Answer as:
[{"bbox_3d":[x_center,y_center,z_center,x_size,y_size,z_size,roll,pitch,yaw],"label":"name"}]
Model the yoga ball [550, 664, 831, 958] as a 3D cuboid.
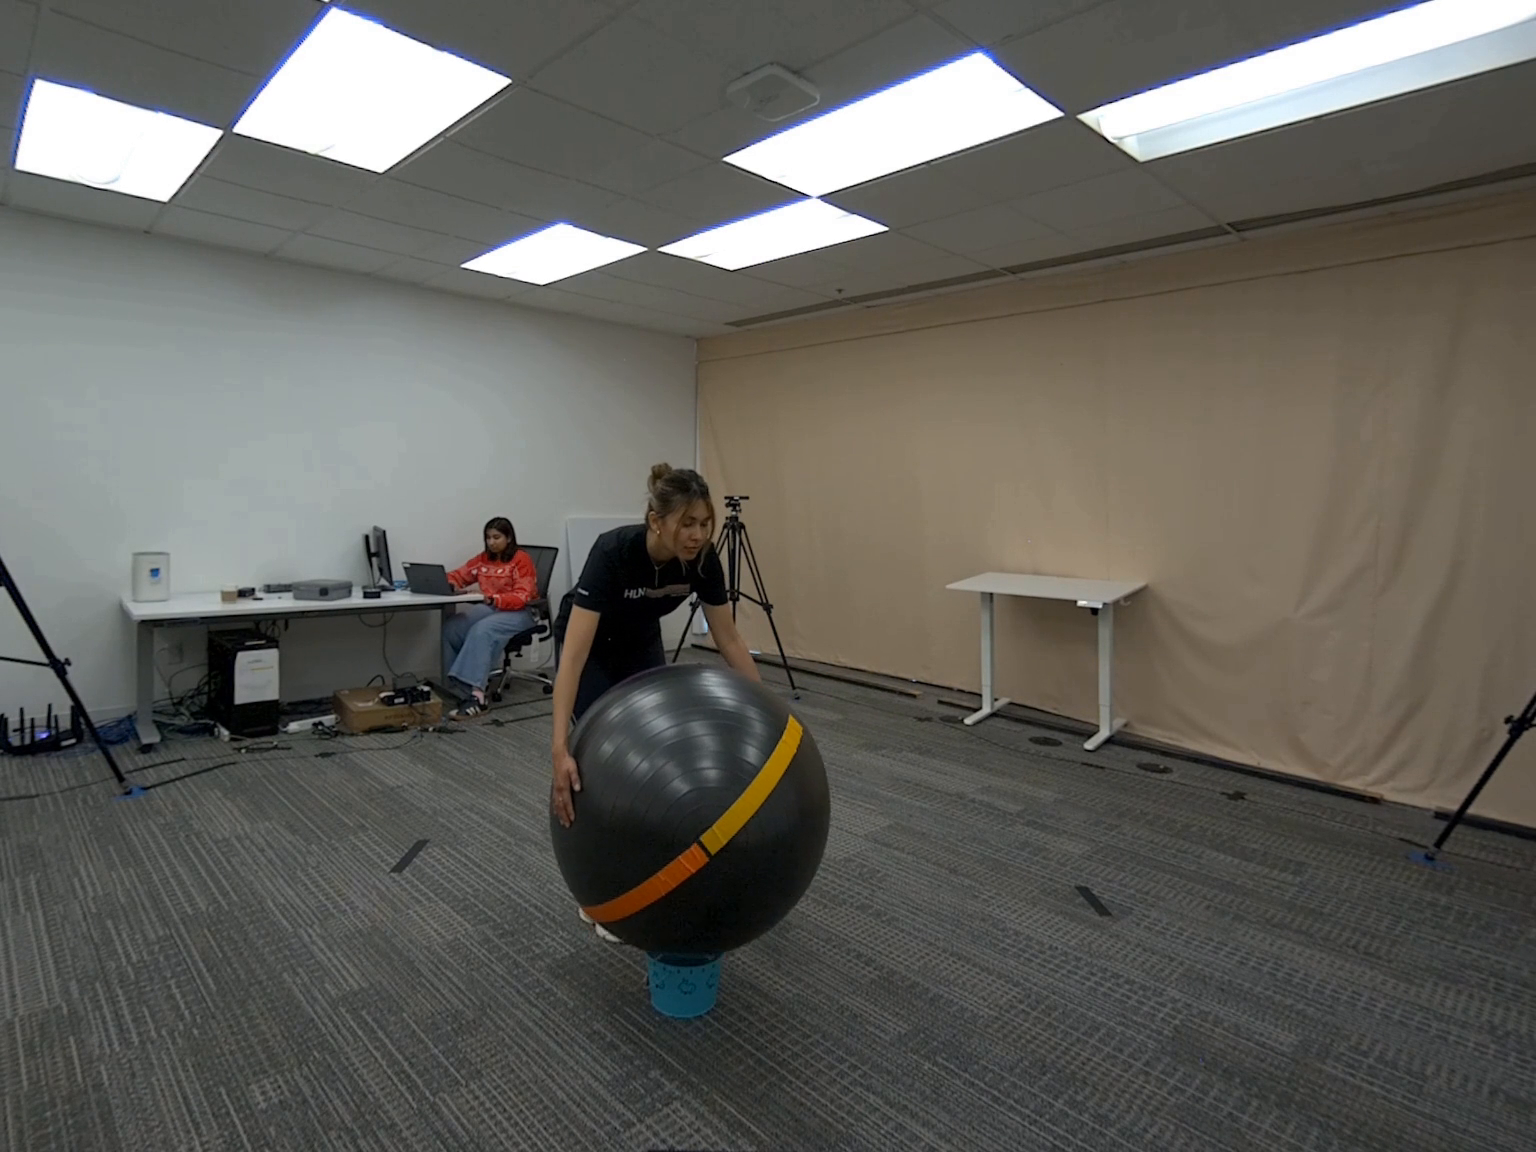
[{"bbox_3d":[-0.201,0.620,2.276,0.757,0.756,0.761,1,4,-1],"label":"yoga ball"}]
